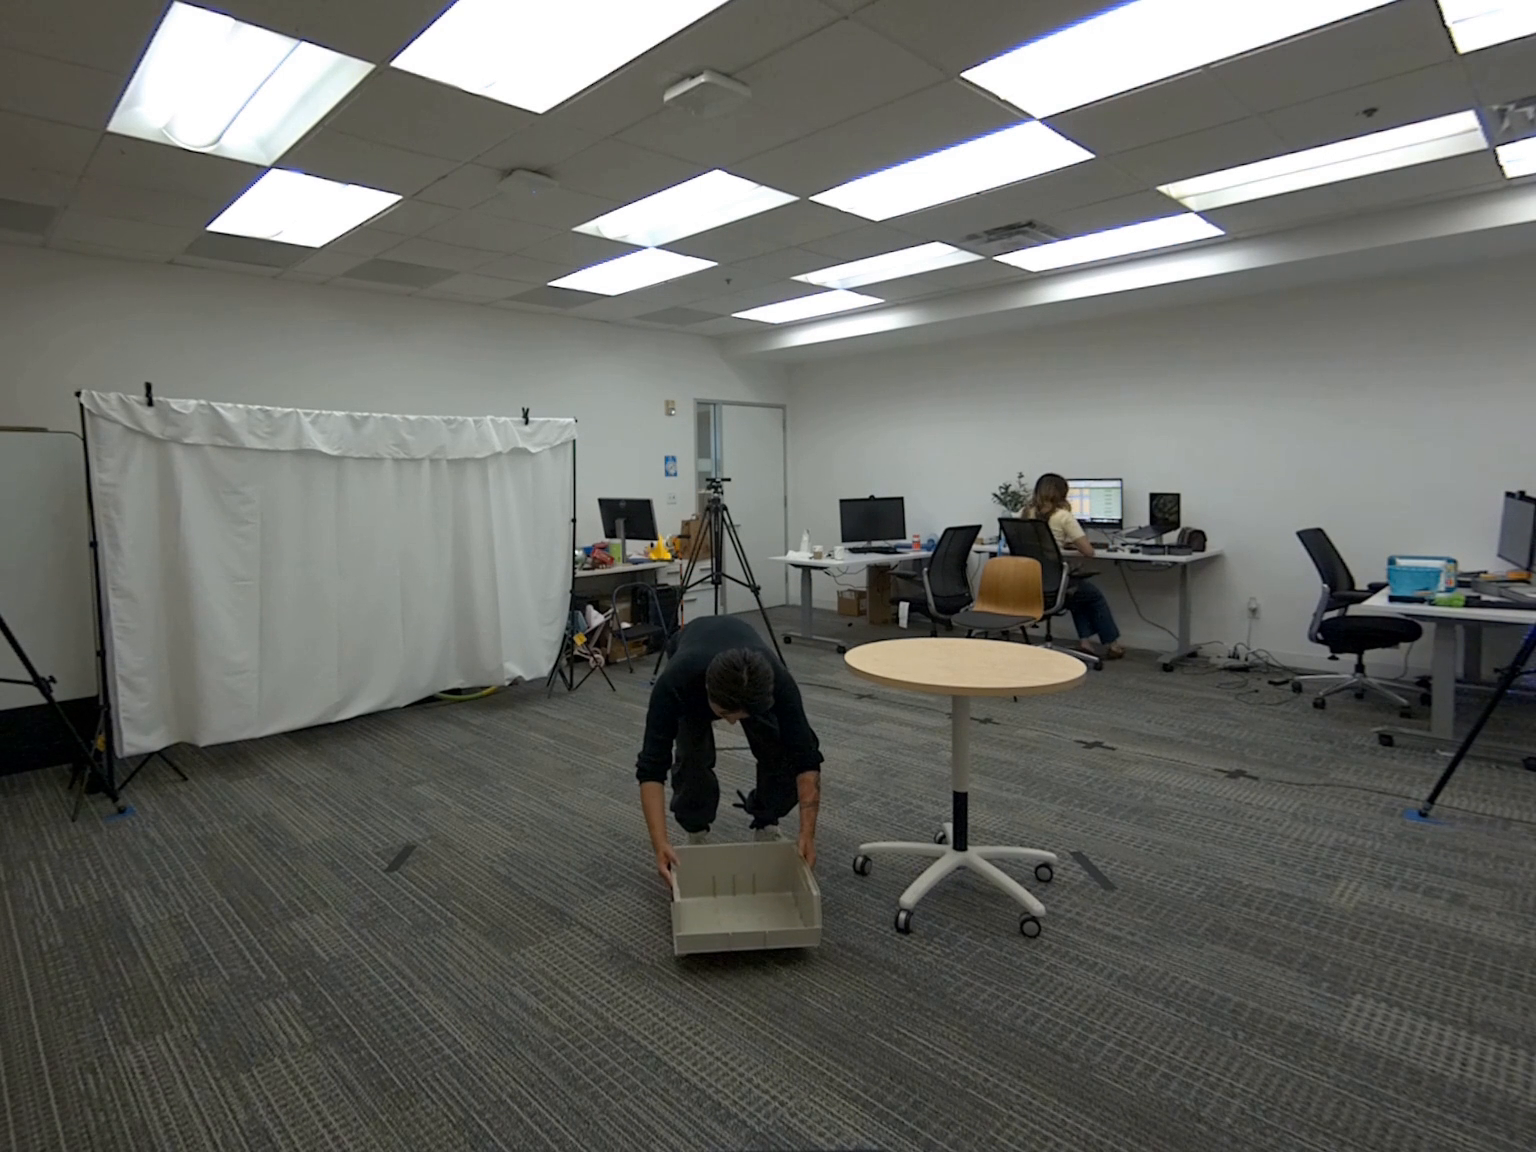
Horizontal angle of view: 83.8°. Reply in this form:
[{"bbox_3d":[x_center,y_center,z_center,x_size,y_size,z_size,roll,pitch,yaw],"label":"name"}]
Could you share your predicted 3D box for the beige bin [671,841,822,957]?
[{"bbox_3d":[-0.080,0.984,2.589,0.420,0.188,0.381,-2,6,-7],"label":"beige bin"}]
